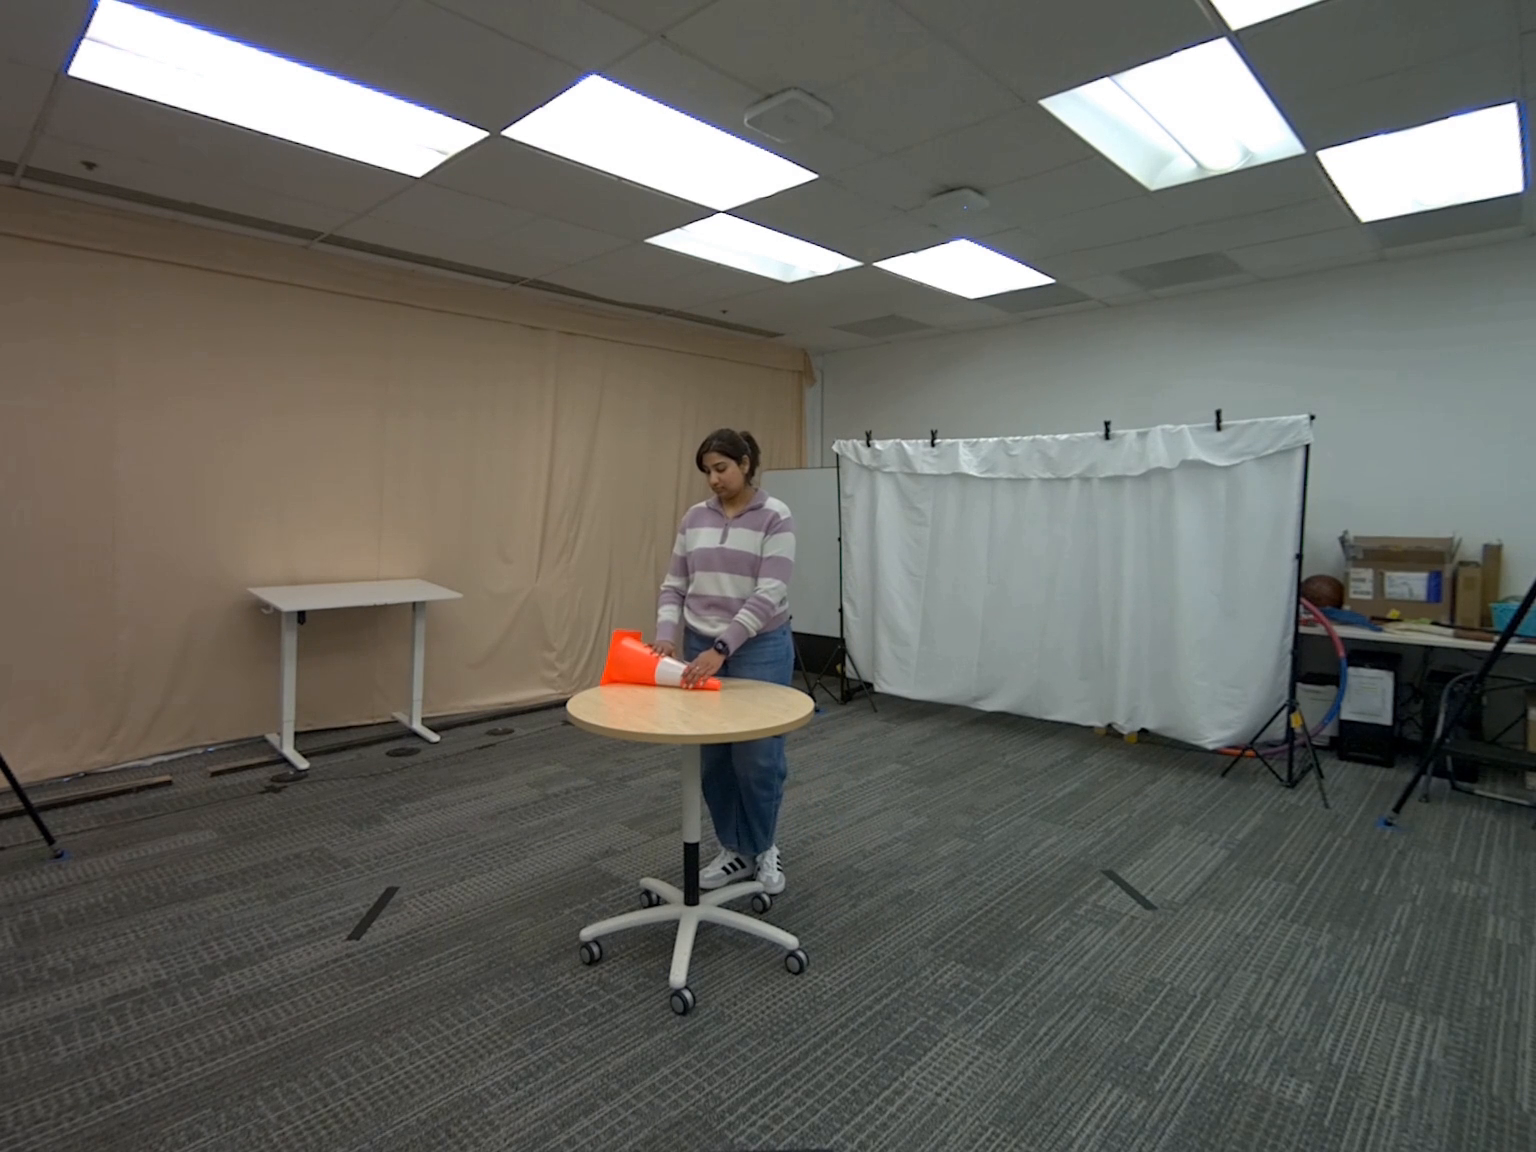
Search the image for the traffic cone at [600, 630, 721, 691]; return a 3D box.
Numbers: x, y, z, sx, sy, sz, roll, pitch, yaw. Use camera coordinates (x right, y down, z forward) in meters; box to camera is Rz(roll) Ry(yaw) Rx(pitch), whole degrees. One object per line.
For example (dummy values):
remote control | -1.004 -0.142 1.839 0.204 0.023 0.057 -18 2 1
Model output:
traffic cone | -0.335 0.332 2.852 0.394 0.205 0.198 15 -1 23
